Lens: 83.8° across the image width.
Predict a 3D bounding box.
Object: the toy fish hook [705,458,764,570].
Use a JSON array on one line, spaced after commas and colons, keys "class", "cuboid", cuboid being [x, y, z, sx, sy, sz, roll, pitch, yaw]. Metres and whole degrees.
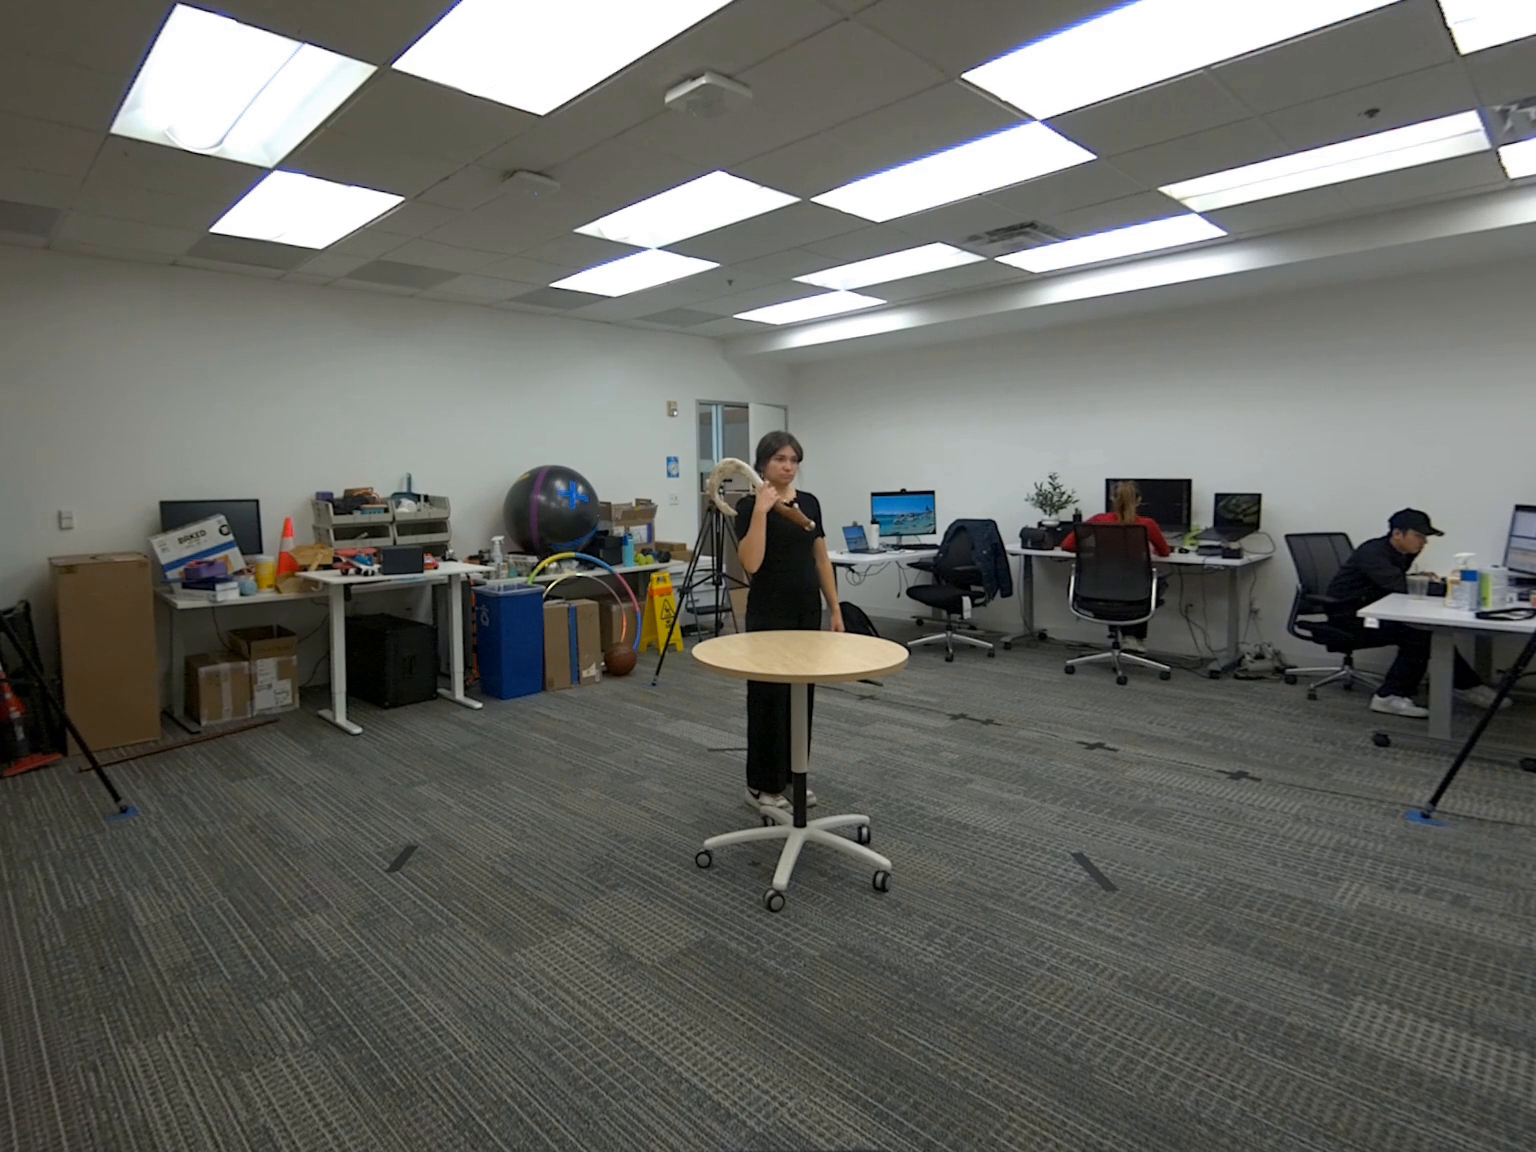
[{"class": "toy fish hook", "cuboid": [-0.047, -0.298, 3.518, 0.519, 0.223, 0.047, 37, 18, 20]}]
